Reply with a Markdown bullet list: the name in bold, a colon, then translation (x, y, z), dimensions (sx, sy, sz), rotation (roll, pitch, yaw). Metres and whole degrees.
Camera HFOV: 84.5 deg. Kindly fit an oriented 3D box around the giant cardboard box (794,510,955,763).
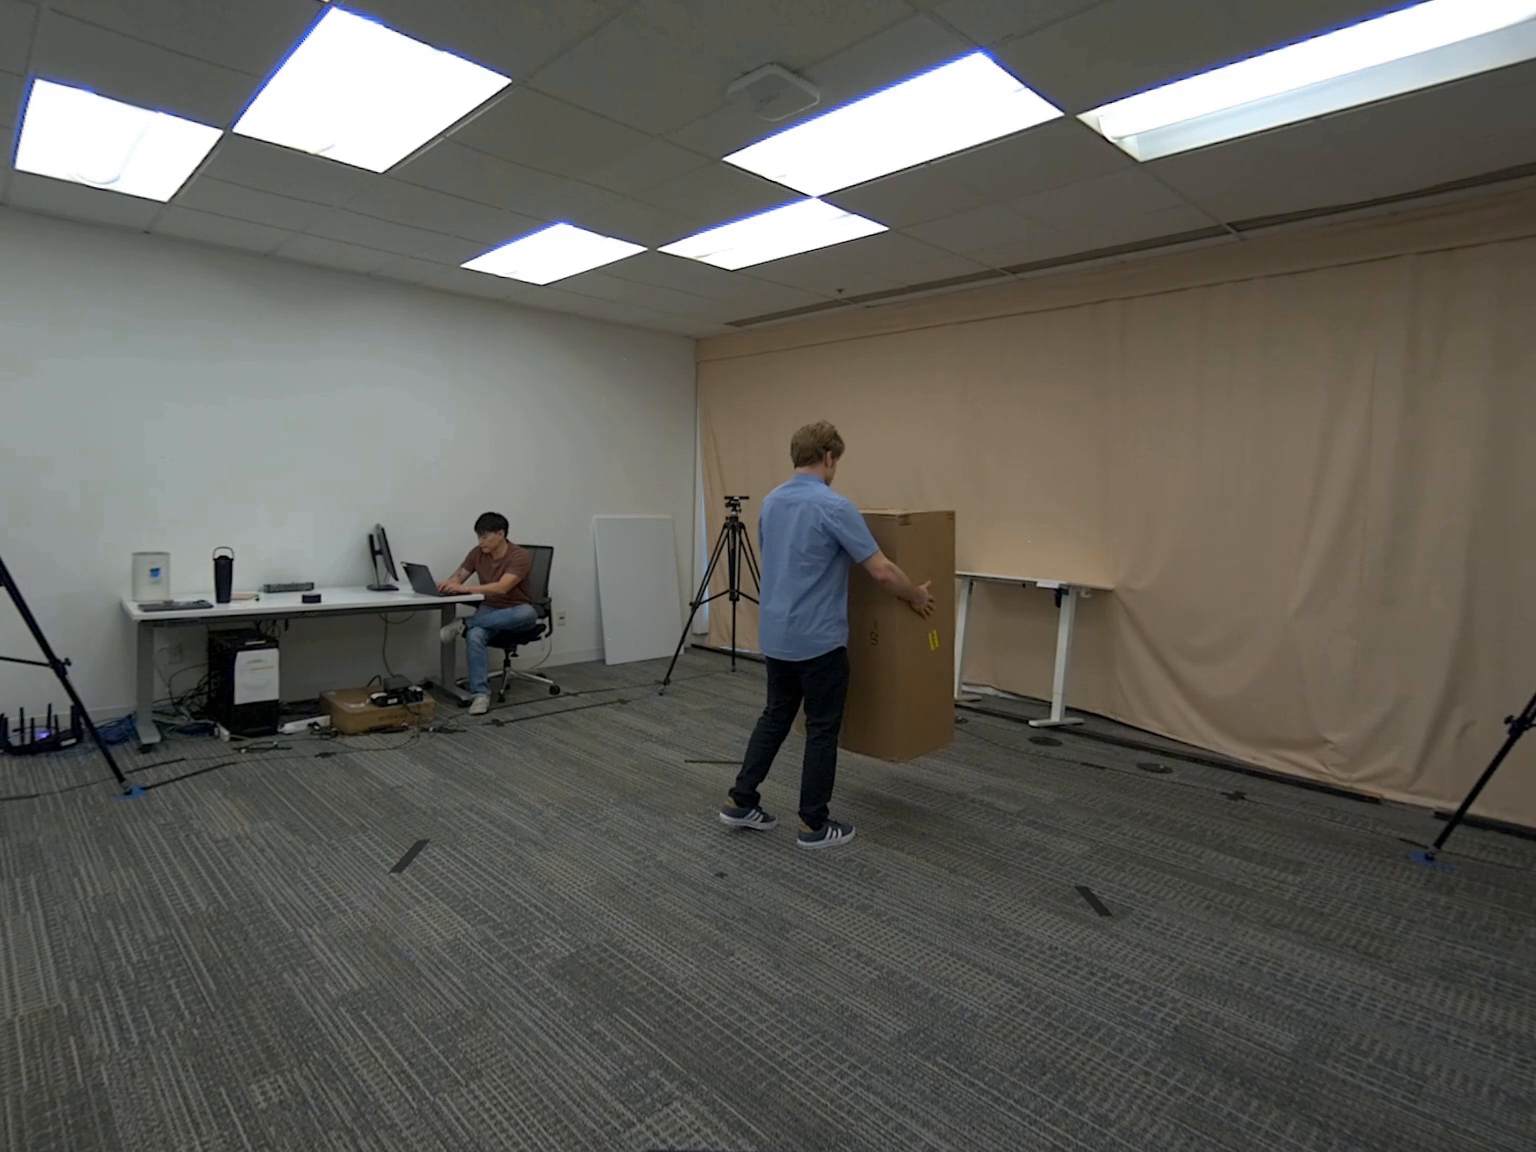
- **giant cardboard box**: translation (0.463, 0.223, 3.731), dimensions (0.417, 1.022, 0.592), rotation (-5, 6, -43)
